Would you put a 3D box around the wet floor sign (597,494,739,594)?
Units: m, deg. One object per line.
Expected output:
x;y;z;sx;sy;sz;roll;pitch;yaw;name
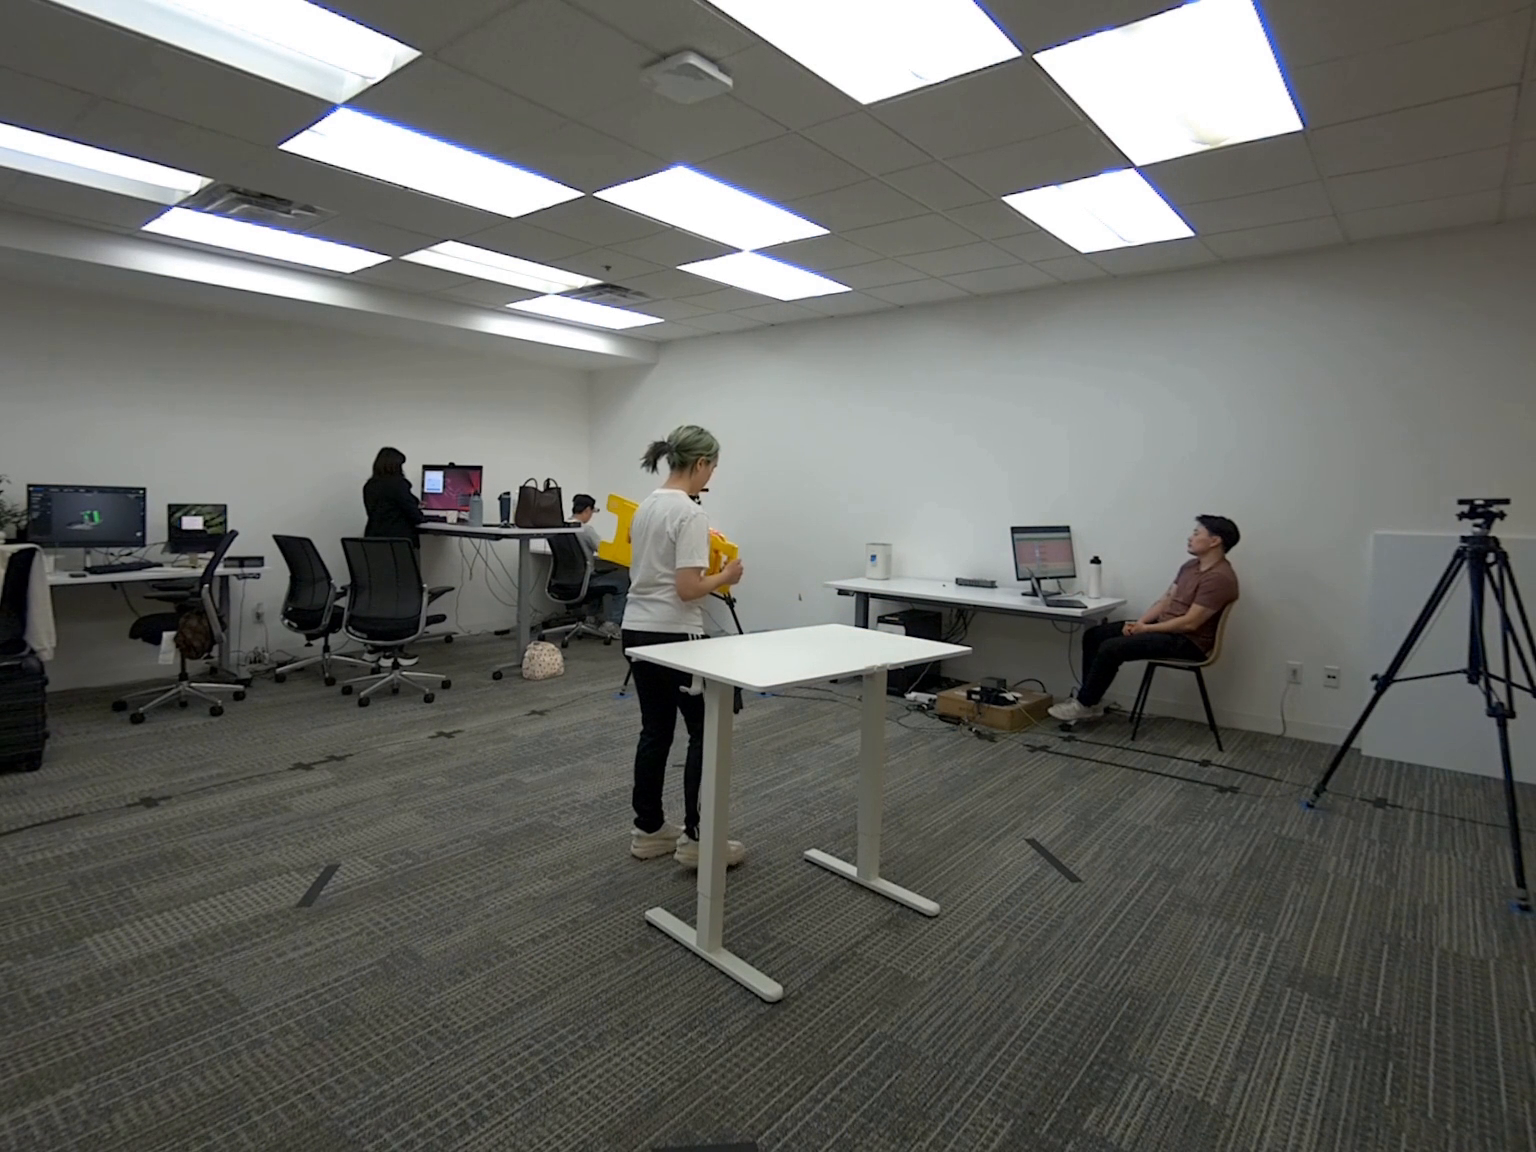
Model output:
-0.381;-0.120;3.453;0.672;0.280;0.281;22;15;39;wet floor sign
